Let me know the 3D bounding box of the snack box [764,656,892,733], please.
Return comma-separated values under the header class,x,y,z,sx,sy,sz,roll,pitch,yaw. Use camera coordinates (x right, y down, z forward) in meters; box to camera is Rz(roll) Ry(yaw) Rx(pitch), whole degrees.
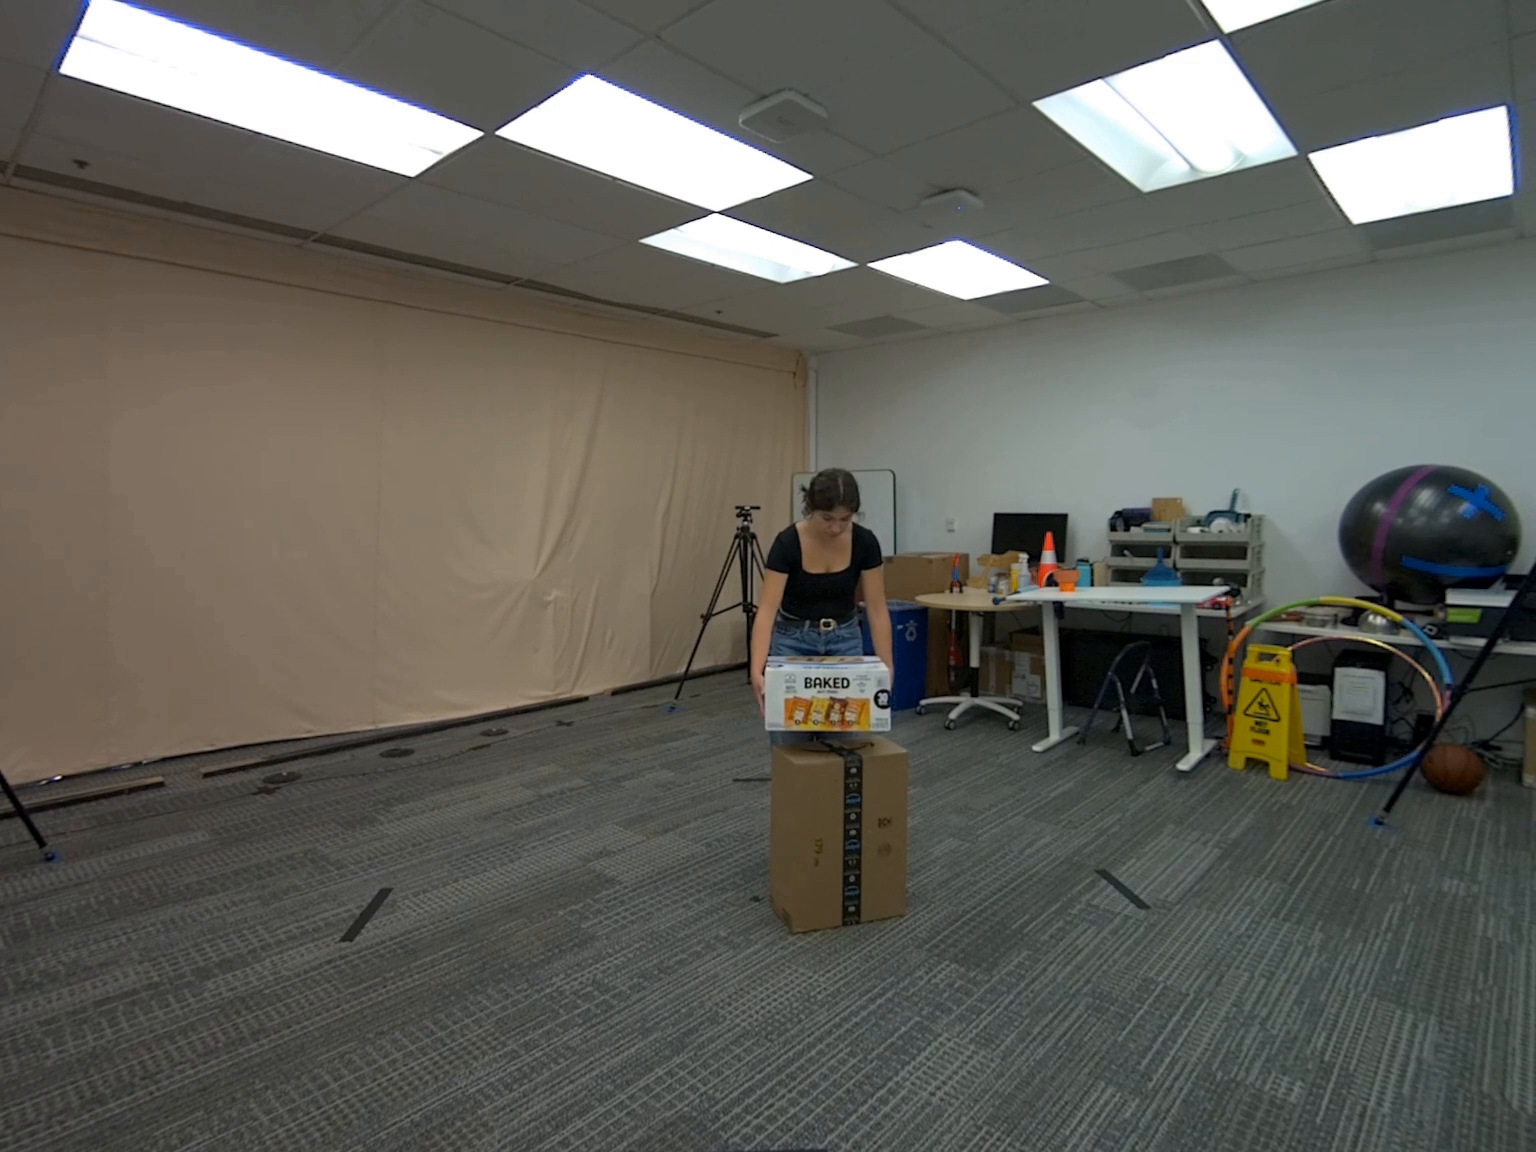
class,x,y,z,sx,sy,sz,roll,pitch,yaw
snack box,0.201,0.397,2.895,0.407,0.206,0.339,-1,1,4
